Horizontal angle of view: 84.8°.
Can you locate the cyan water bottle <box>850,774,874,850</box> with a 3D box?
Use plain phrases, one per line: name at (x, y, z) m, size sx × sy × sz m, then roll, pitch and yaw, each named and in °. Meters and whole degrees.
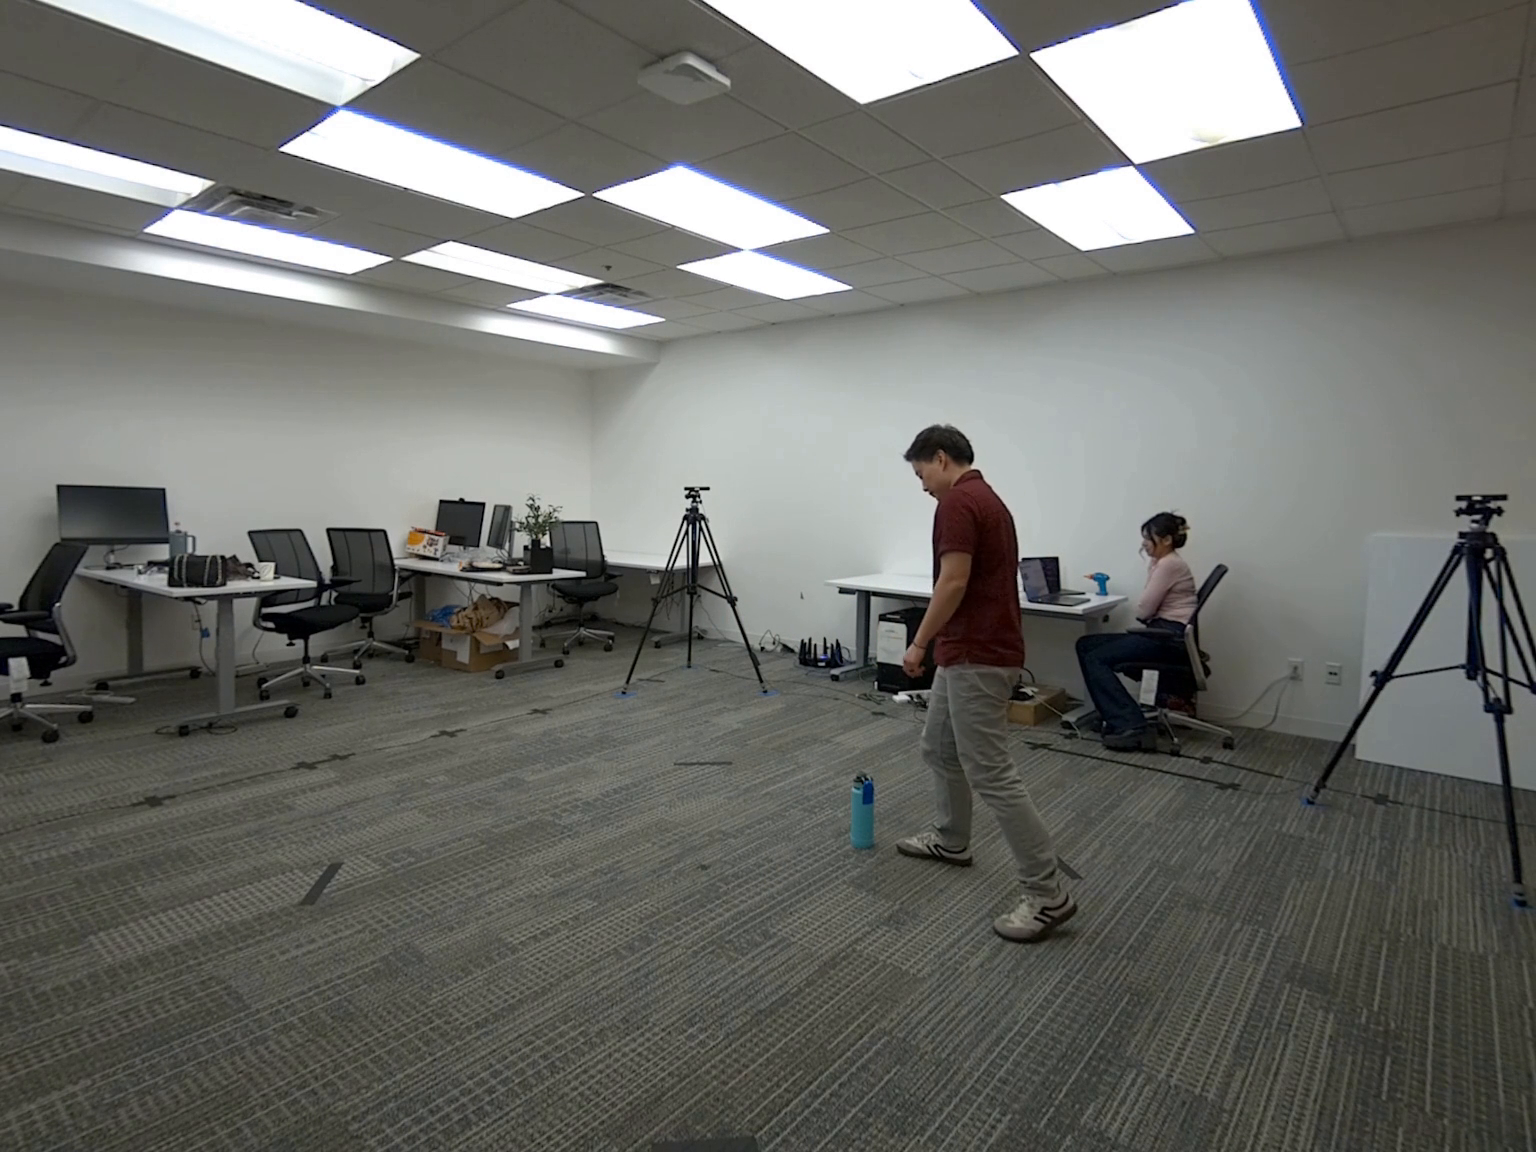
cyan water bottle at (0.370, 0.915, 3.345) m, size 0.092 × 0.282 × 0.093 m, roll 1°, pitch 4°, yaw -2°
